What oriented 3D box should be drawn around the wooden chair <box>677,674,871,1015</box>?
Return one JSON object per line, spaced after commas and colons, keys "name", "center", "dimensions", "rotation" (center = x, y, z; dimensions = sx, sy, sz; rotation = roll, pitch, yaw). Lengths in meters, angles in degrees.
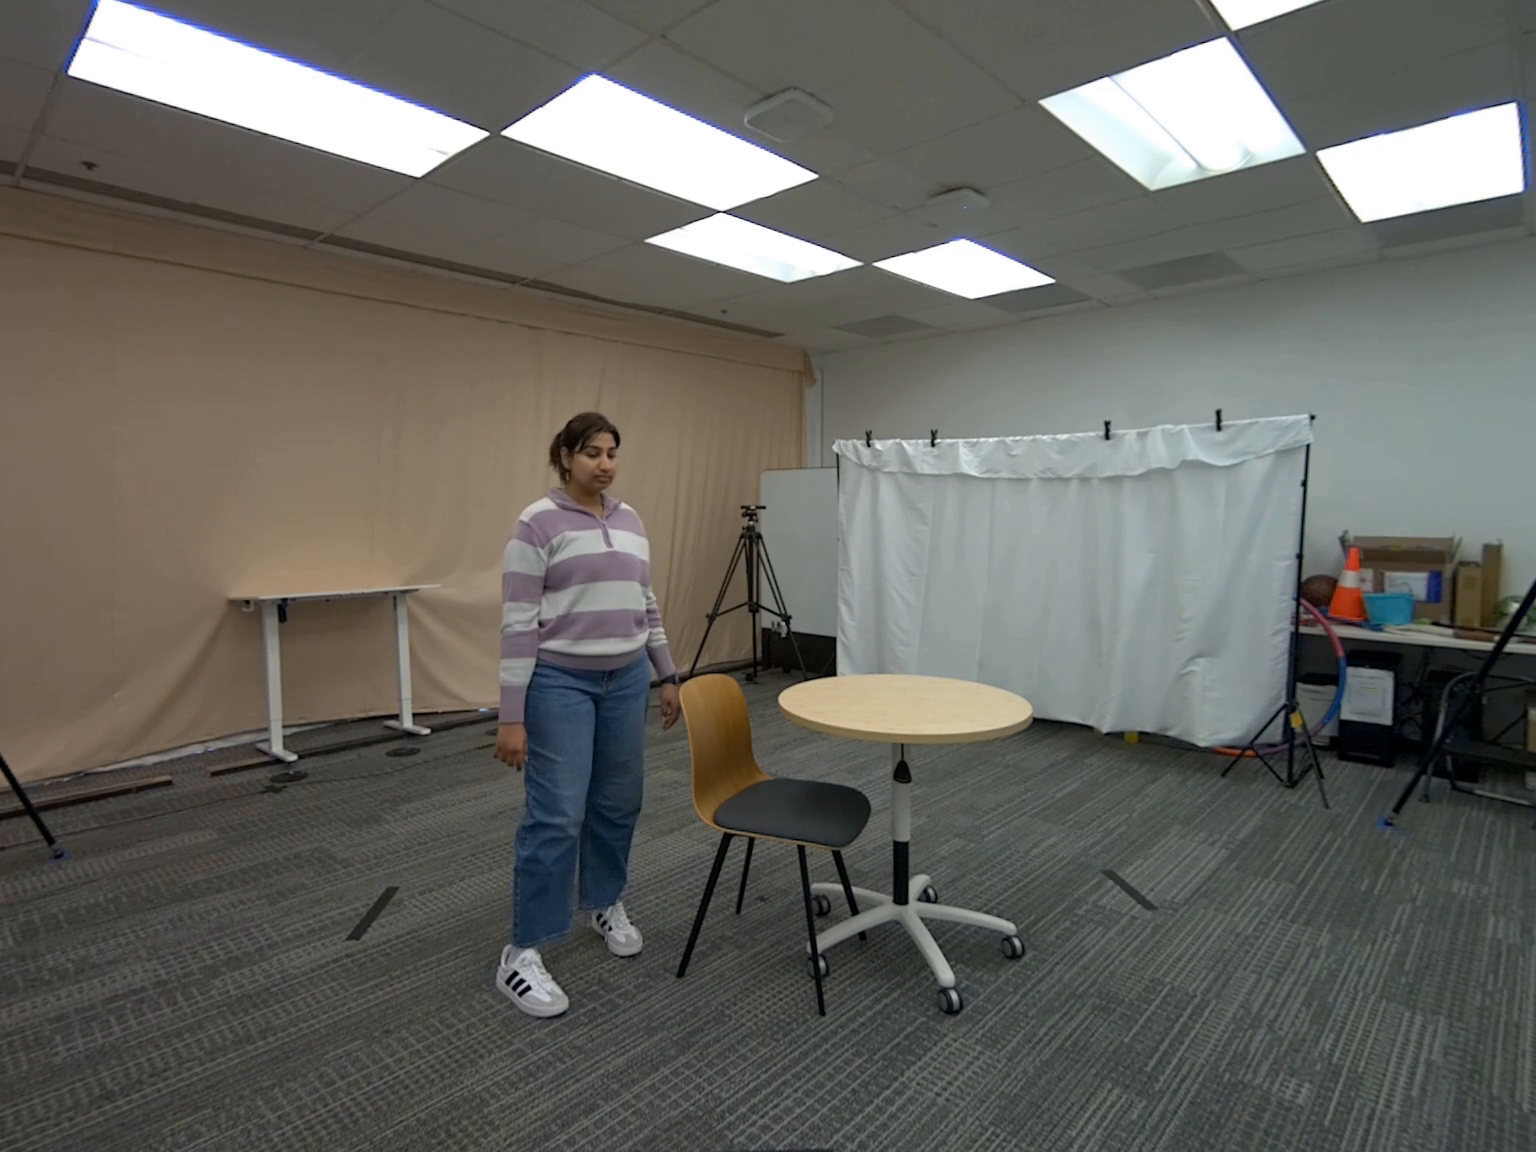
{"name": "wooden chair", "center": [0.034, 0.755, 2.561], "dimensions": [0.535, 0.877, 0.467], "rotation": [-3, 1, 24]}
